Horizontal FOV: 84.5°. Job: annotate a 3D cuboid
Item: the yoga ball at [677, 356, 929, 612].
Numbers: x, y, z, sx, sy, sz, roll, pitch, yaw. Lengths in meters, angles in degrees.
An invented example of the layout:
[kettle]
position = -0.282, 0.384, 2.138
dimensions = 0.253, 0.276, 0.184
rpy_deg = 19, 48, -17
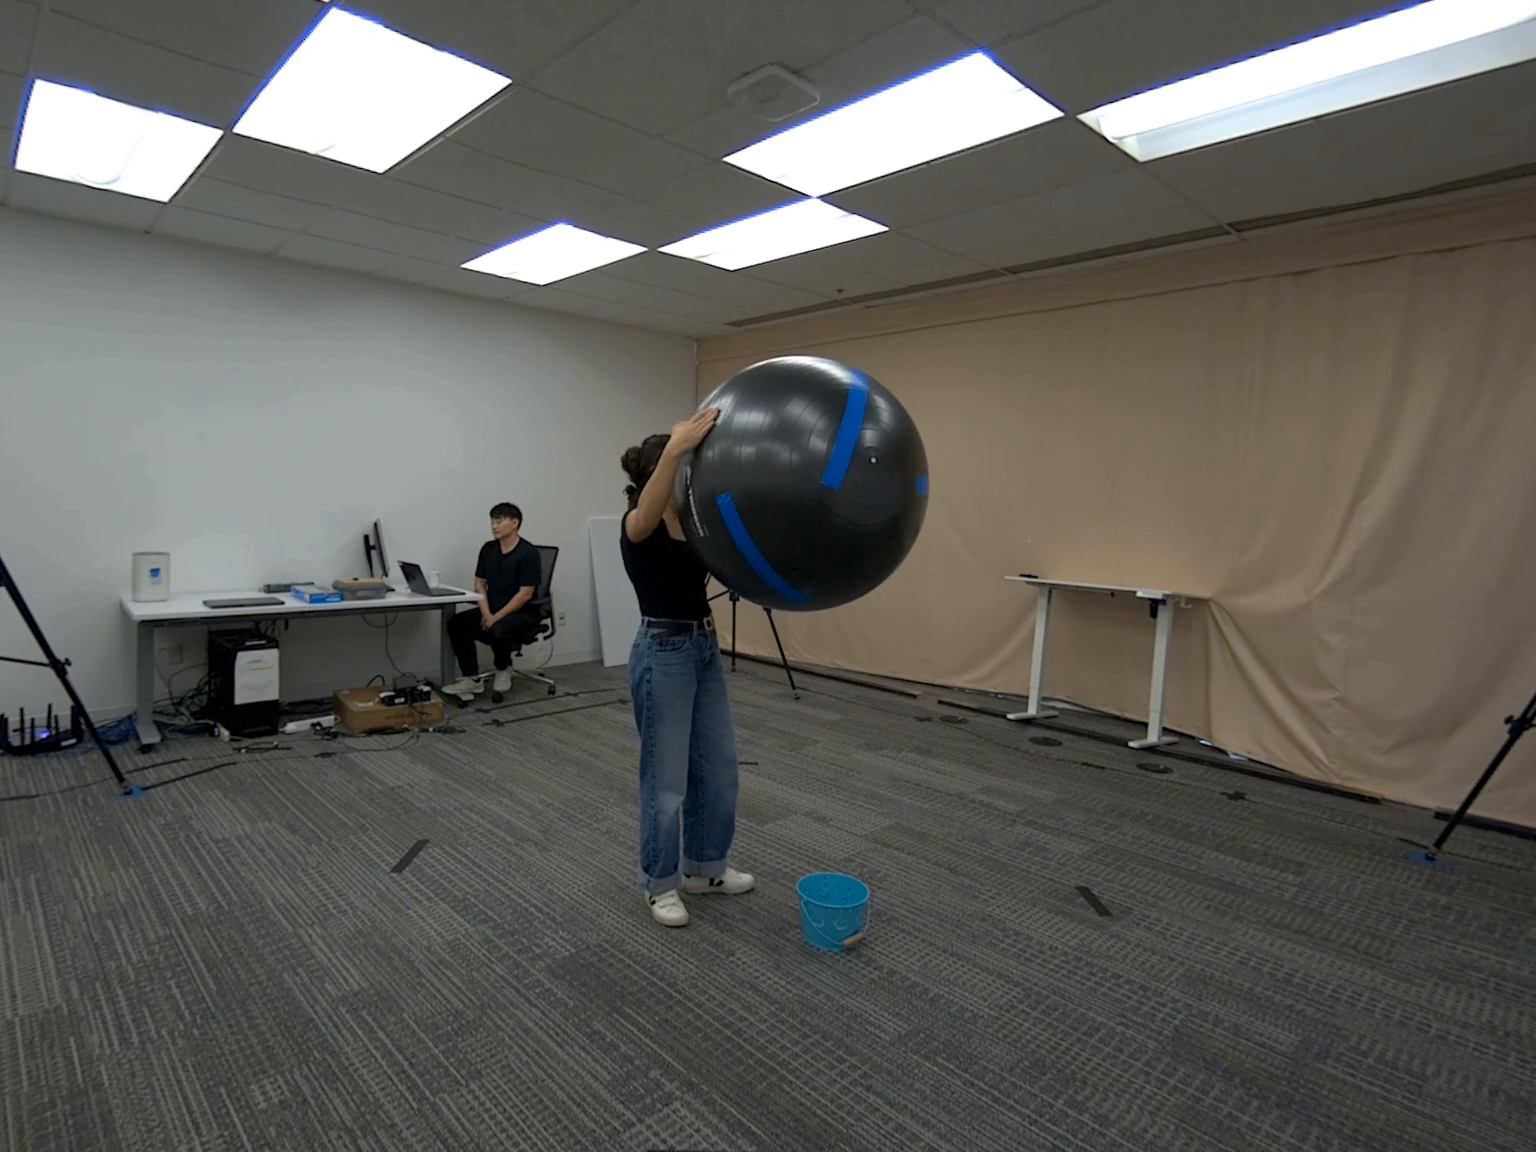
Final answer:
[yoga ball]
position = 0.093, -0.262, 2.519
dimensions = 0.757, 0.756, 0.761
rpy_deg = 1, 4, -1
